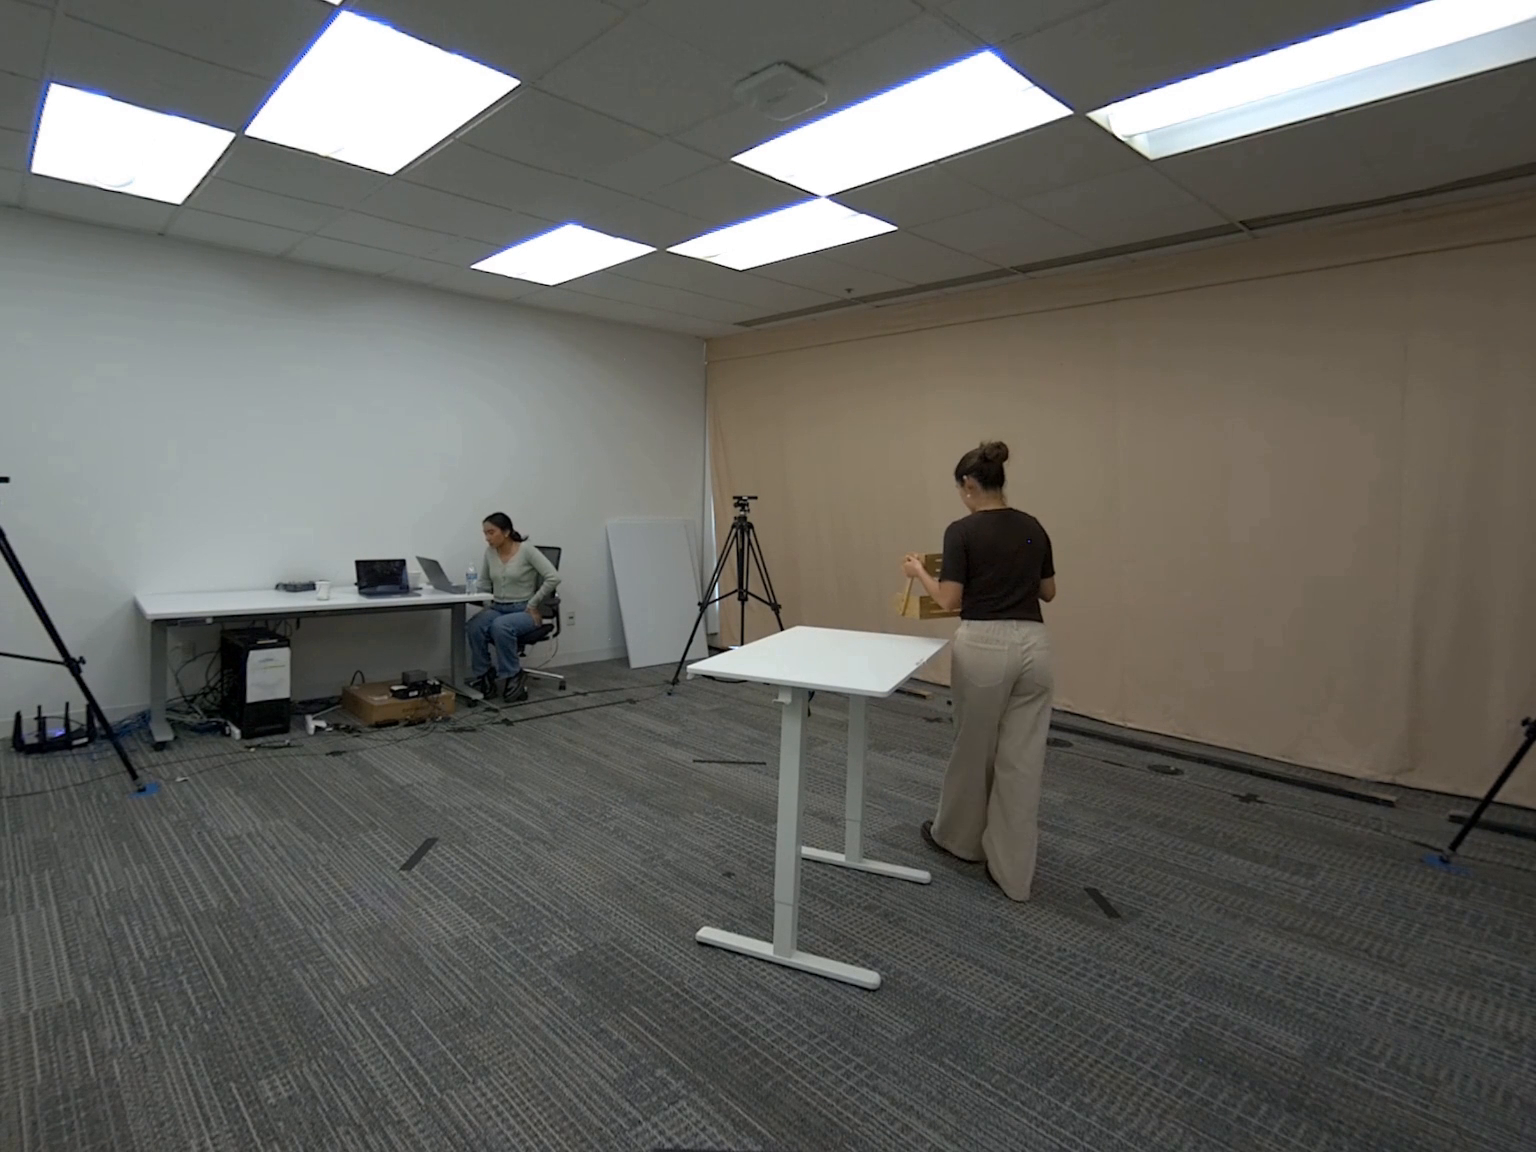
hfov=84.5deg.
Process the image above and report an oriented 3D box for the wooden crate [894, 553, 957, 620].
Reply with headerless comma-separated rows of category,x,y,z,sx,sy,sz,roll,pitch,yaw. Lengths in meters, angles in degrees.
wooden crate,0.688,0.026,3.415,0.320,0.273,0.307,-3,3,-18
